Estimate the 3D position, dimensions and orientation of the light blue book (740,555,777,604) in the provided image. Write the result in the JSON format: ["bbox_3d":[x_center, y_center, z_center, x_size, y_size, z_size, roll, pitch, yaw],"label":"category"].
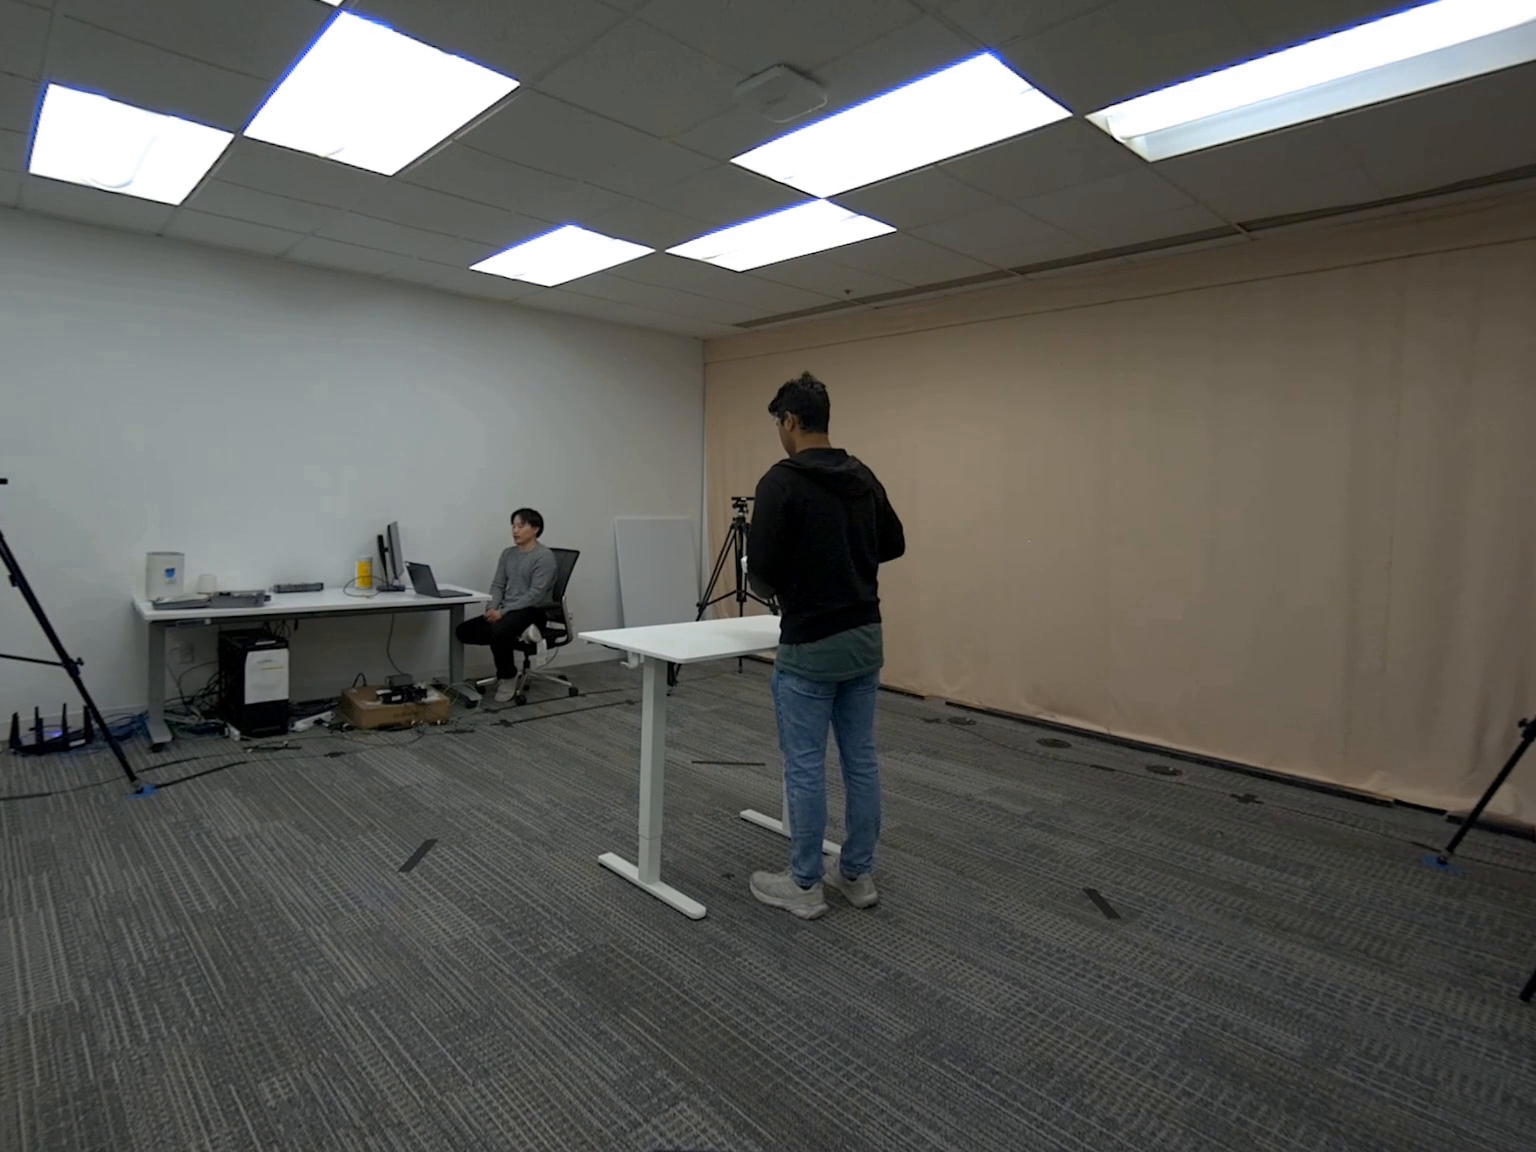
[{"bbox_3d":[0.067,-0.031,3.126,0.189,0.058,0.269,-30,36,-35],"label":"light blue book"}]
